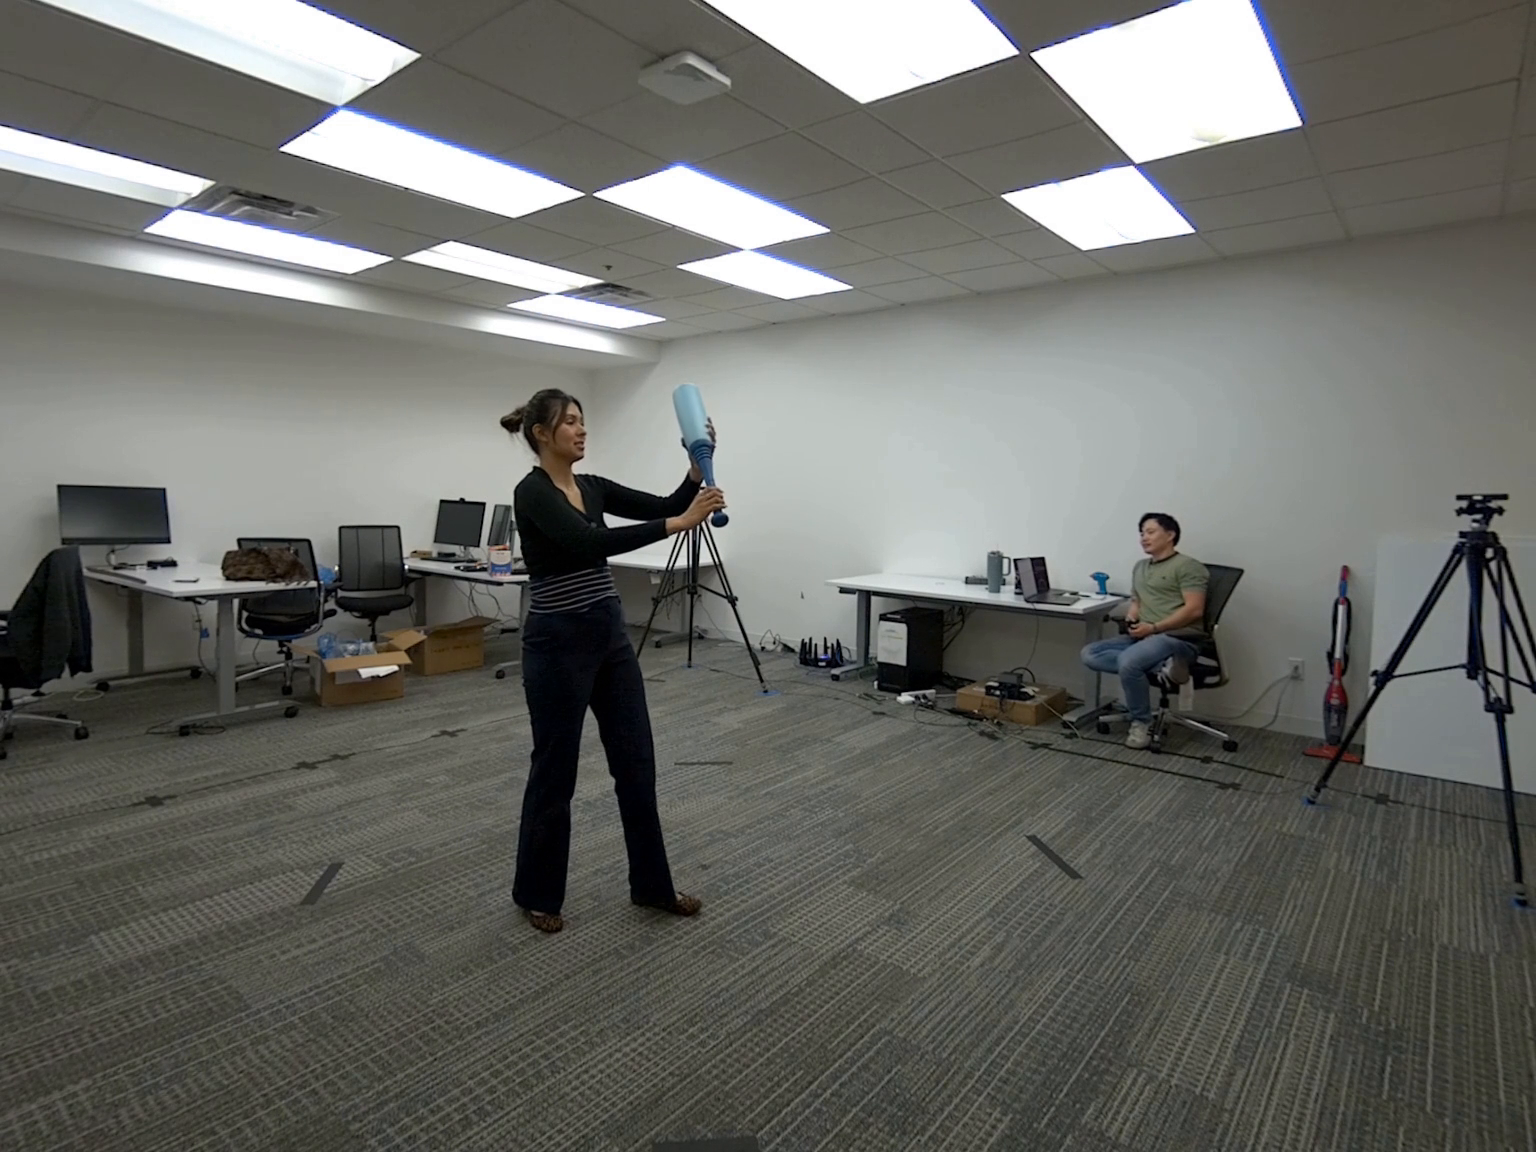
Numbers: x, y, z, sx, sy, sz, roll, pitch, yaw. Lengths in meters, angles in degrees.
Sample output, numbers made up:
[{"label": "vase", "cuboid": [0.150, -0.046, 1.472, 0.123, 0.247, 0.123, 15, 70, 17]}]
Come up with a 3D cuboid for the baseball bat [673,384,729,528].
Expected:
[{"label": "baseball bat", "cuboid": [-0.201, -0.366, 2.506, 0.088, 0.562, 0.087, -12, -35, -10]}]
